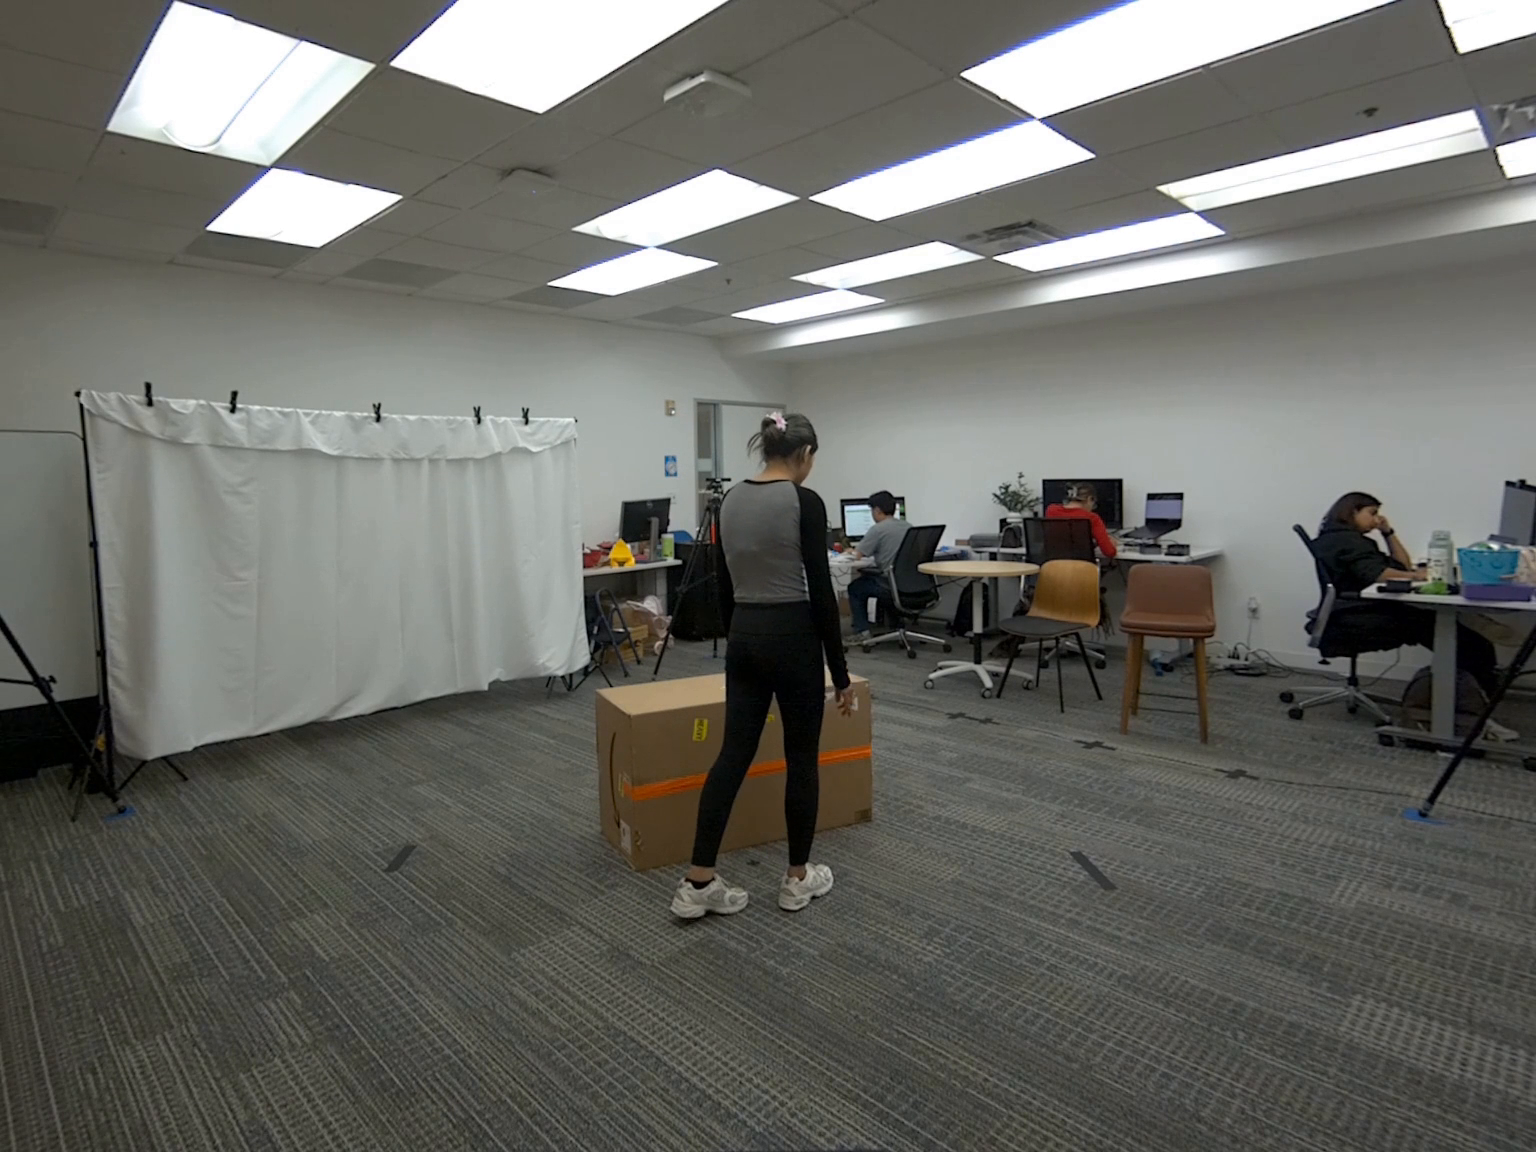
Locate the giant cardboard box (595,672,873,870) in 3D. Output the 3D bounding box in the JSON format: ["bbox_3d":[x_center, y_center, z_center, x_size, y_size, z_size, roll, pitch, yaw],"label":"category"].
[{"bbox_3d":[-0.131,0.718,3.424,1.004,0.575,0.437,-4,5,-26],"label":"giant cardboard box"}]
